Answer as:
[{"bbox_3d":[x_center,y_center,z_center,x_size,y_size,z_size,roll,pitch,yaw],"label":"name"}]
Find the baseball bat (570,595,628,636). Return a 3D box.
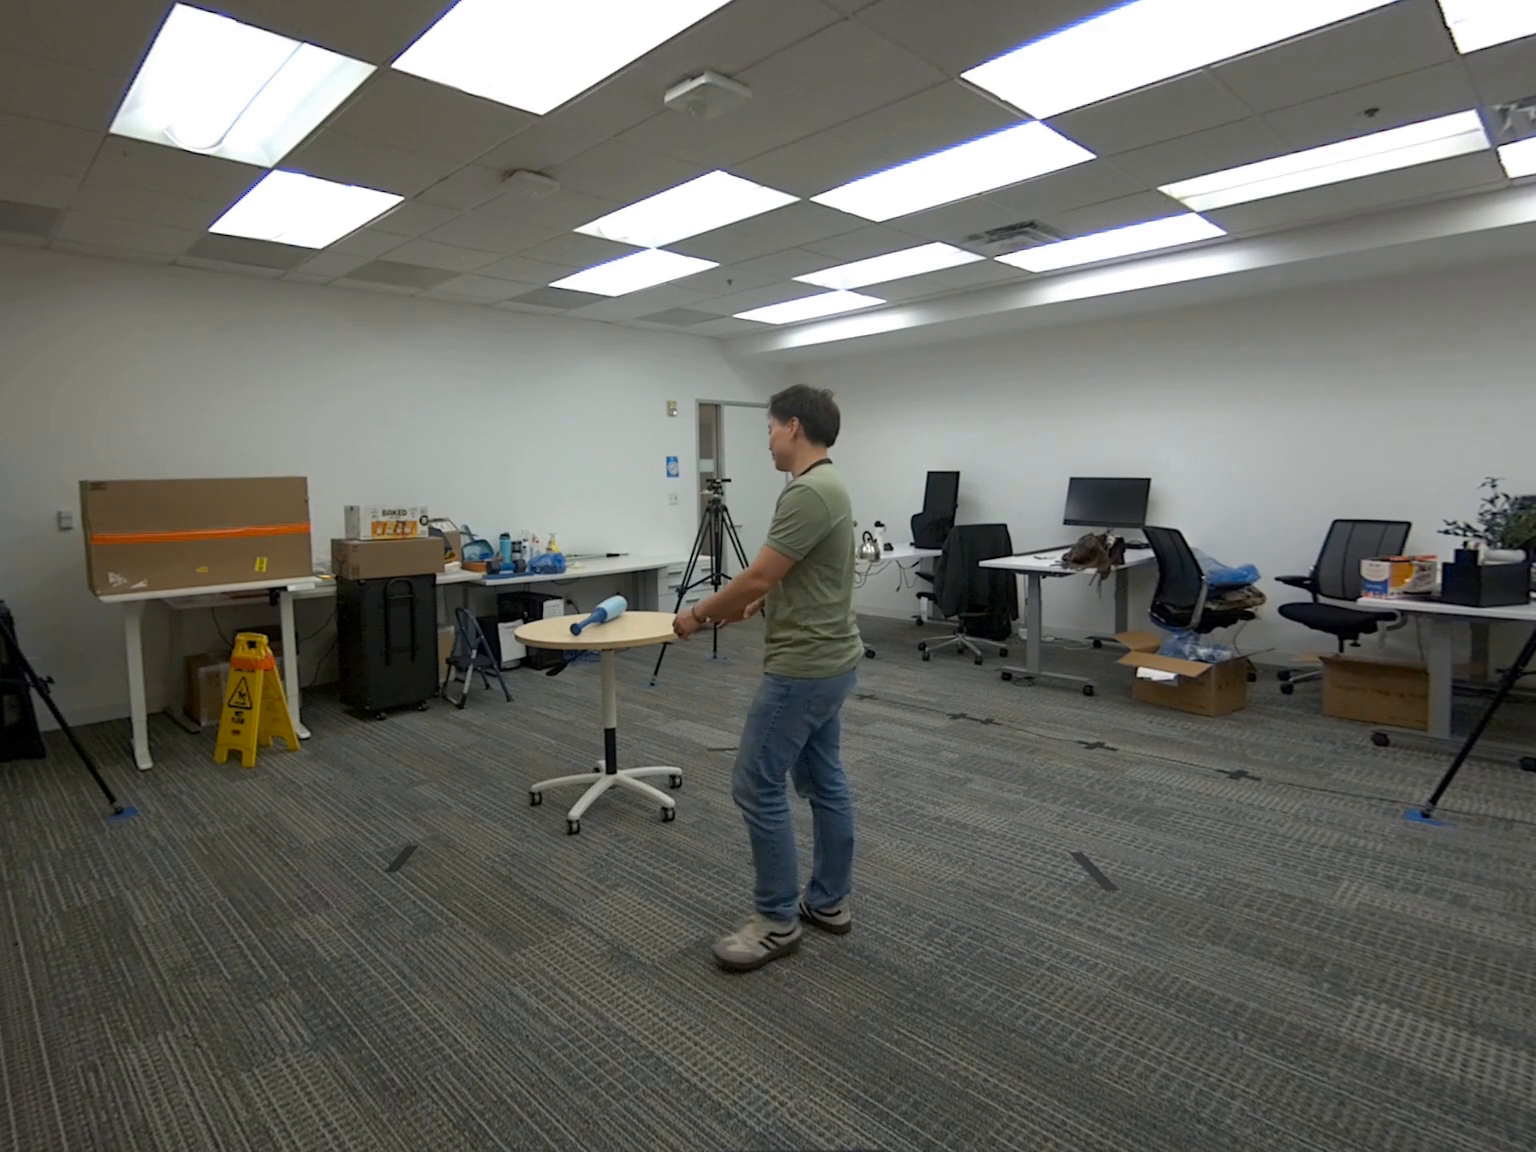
[{"bbox_3d":[-0.734,0.175,3.687,0.090,0.088,0.541,0,9,9],"label":"baseball bat"}]
